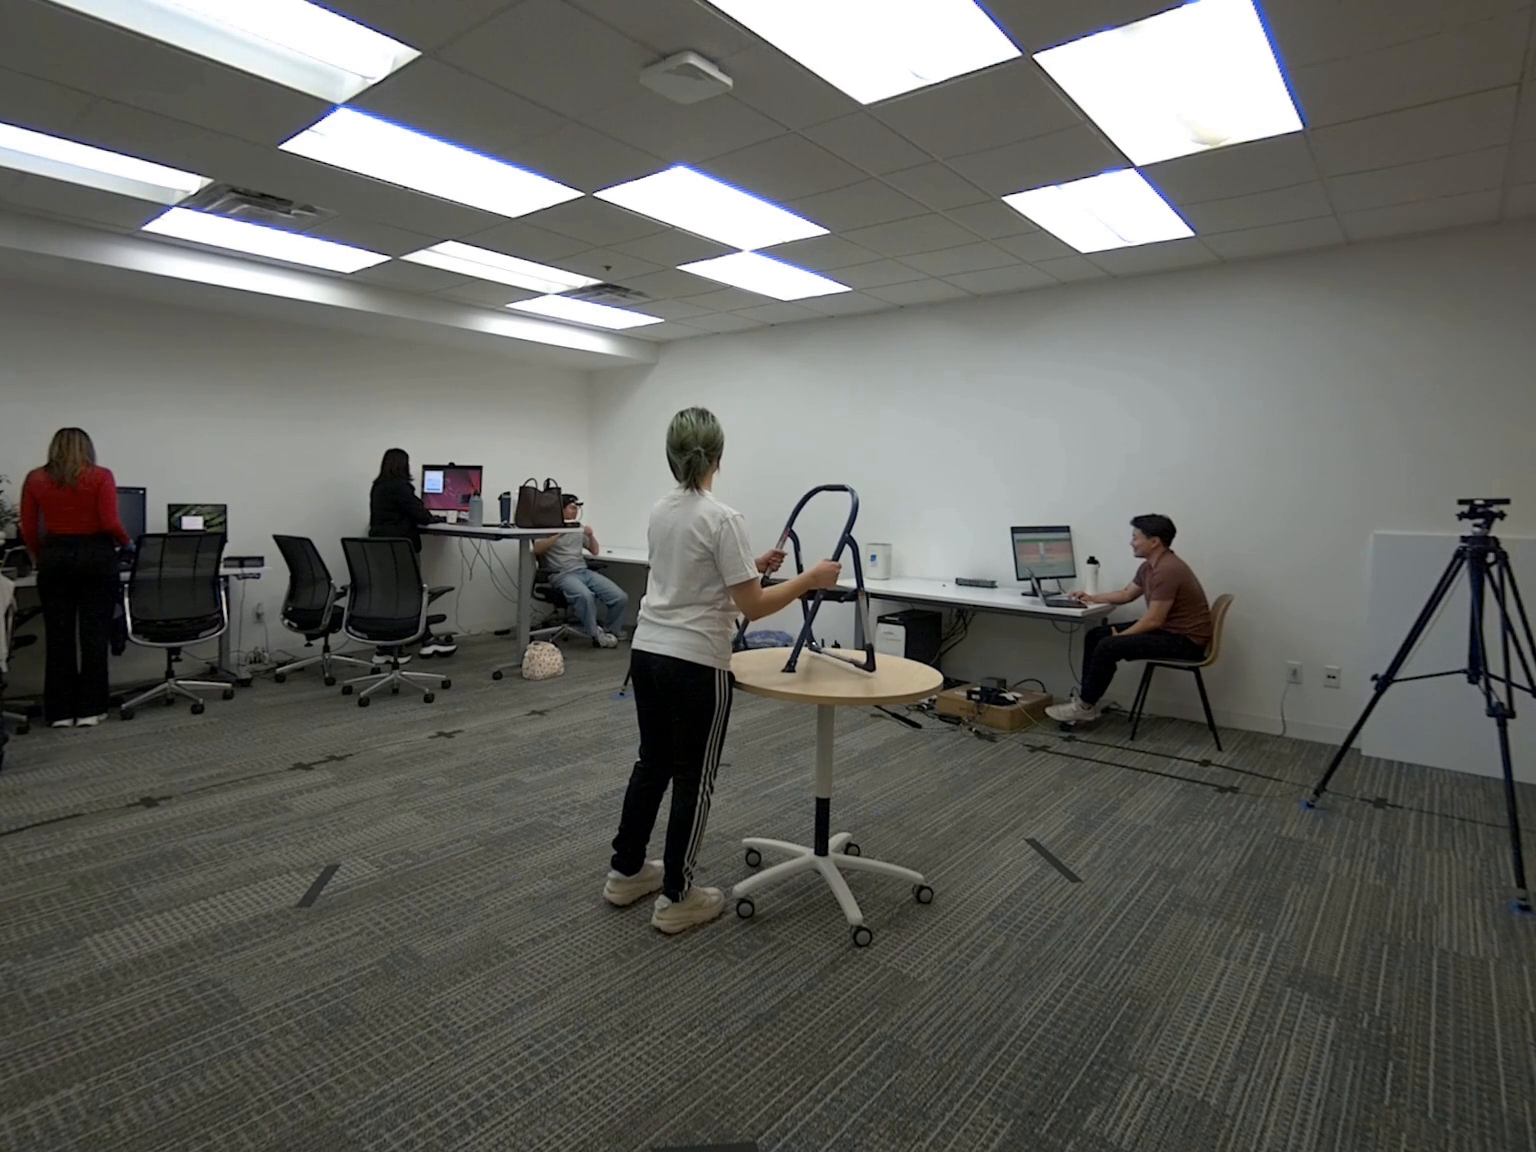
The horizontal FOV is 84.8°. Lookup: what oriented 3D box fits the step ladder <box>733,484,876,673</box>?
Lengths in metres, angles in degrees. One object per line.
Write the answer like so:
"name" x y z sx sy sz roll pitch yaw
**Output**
"step ladder" 0.128 -0.016 2.891 0.340 0.605 0.443 3 3 -26
